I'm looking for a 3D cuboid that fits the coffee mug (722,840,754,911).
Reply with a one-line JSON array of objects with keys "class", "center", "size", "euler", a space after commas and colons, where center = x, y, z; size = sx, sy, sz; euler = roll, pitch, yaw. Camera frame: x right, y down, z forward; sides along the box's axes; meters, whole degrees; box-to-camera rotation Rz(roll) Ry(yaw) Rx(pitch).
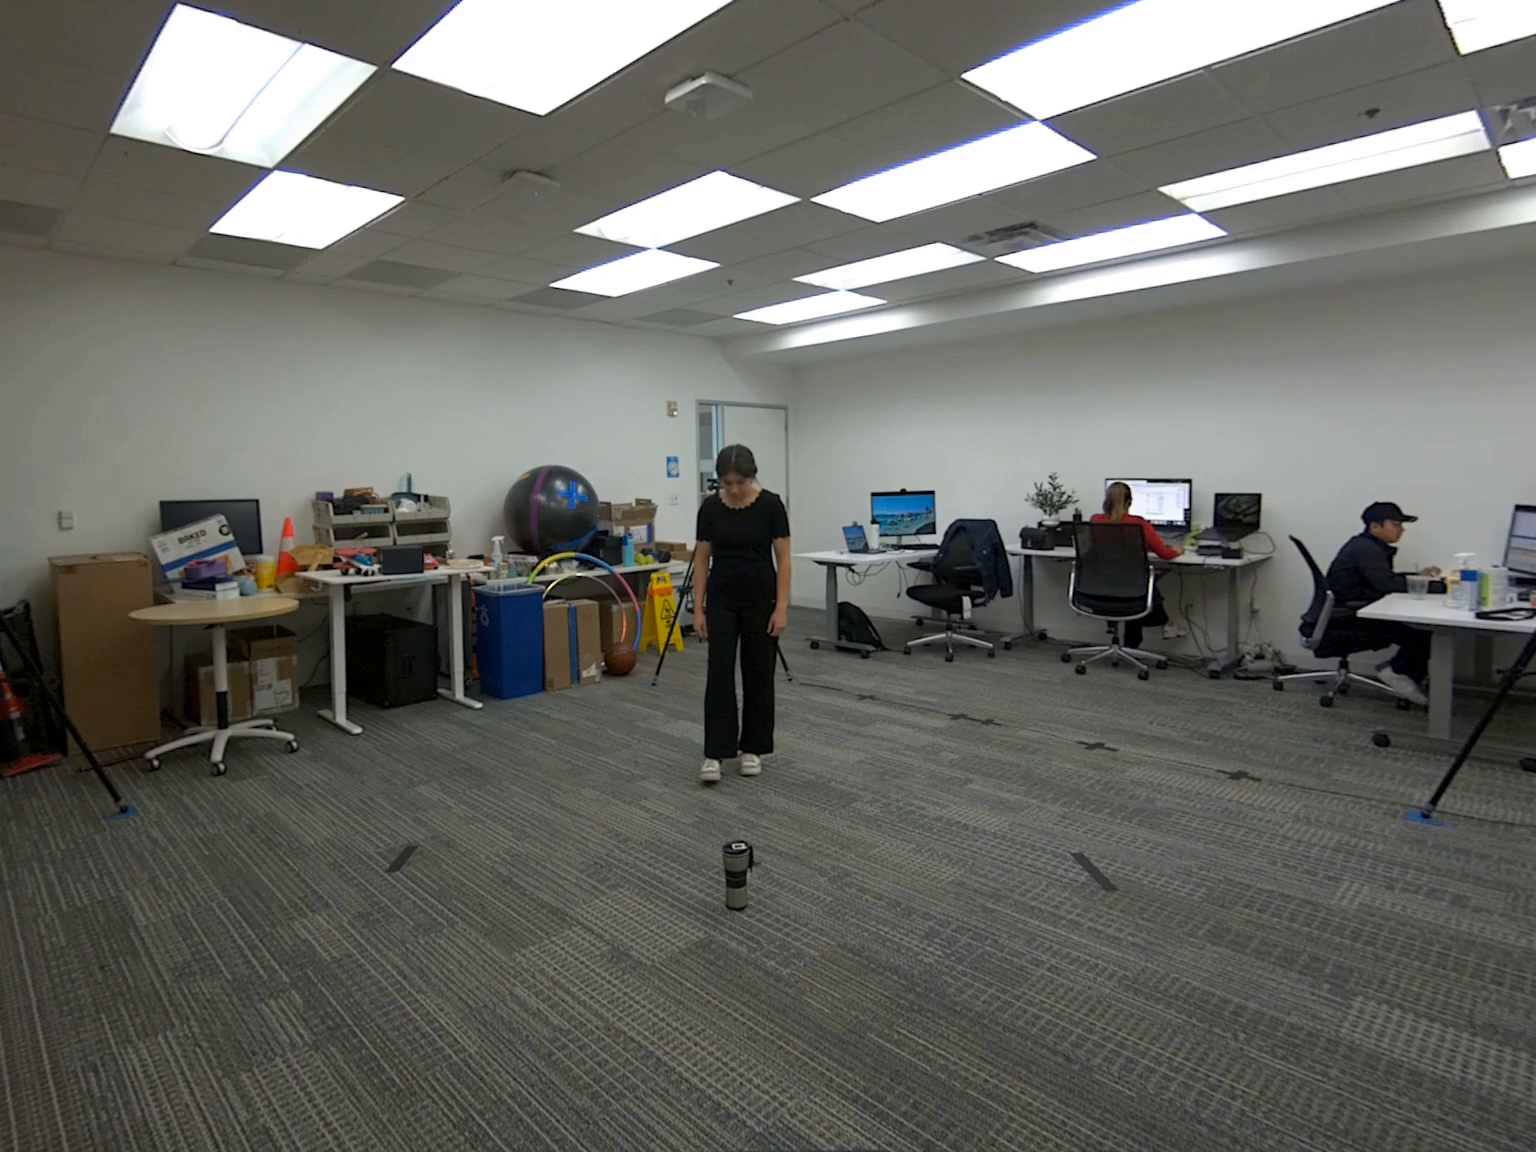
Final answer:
[{"class": "coffee mug", "center": [-0.083, 0.987, 2.804], "size": [0.119, 0.202, 0.090], "euler": [-8, 3, -34]}]
